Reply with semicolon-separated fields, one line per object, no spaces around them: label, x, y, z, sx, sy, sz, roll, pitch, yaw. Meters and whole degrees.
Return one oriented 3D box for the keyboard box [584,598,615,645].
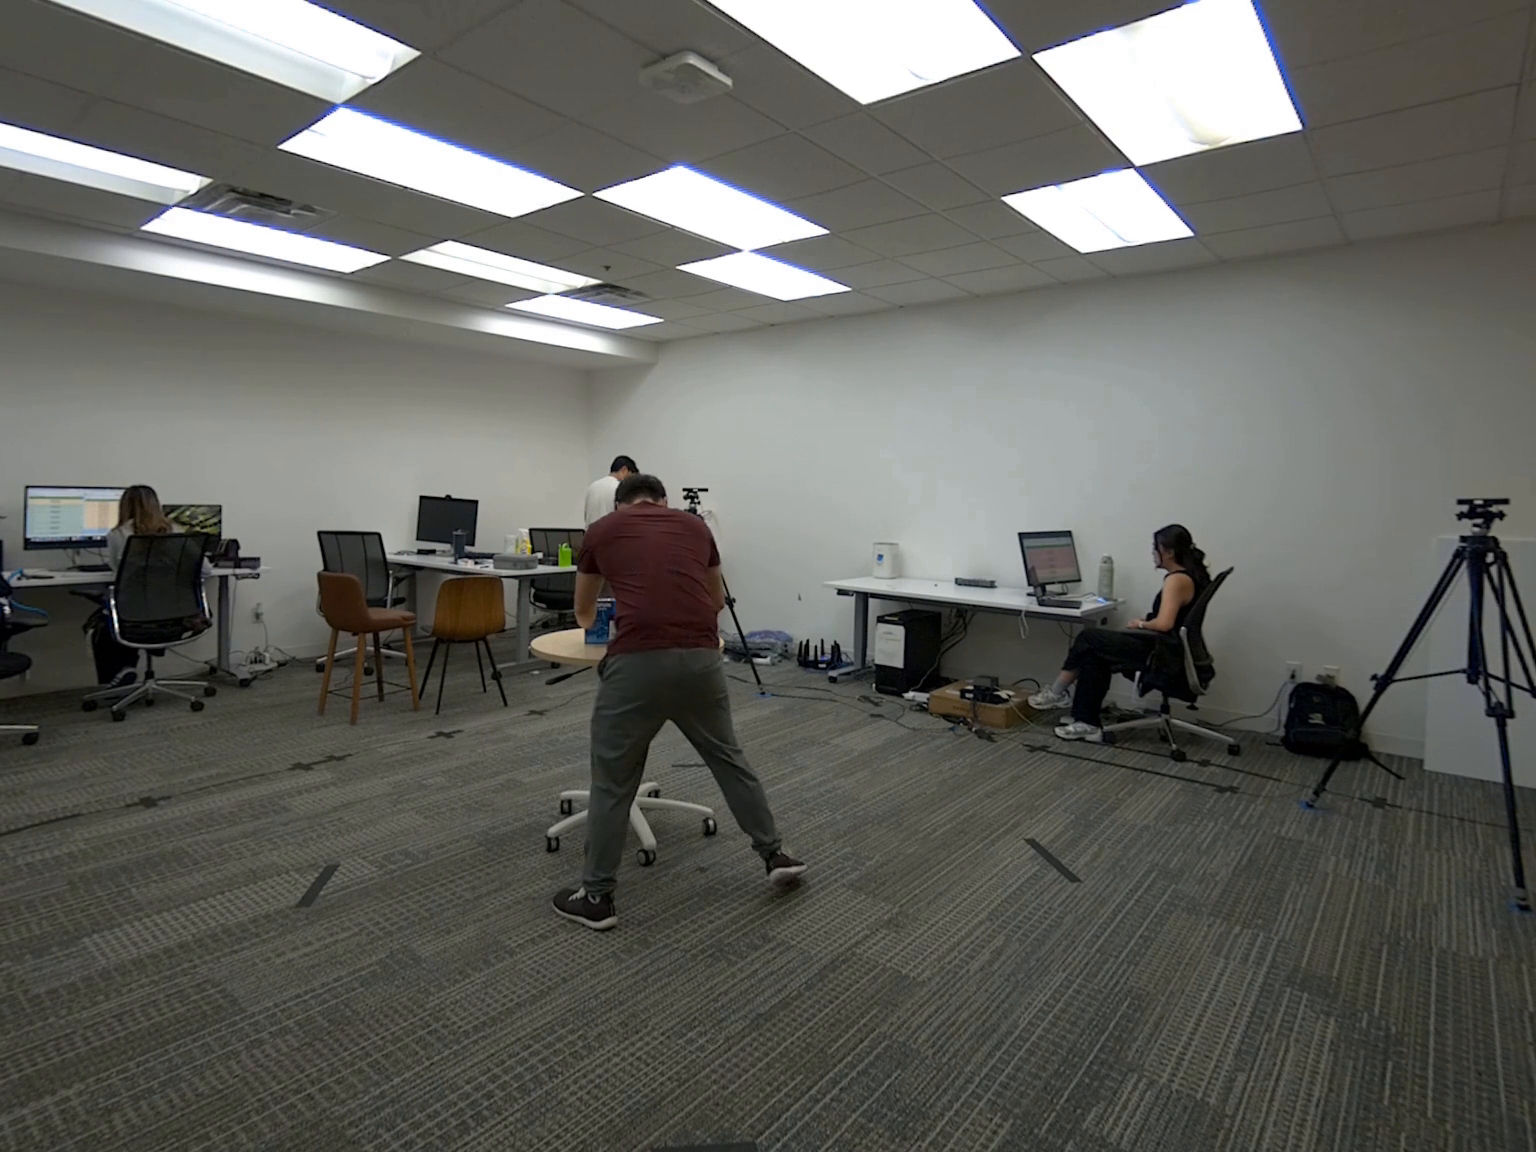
keyboard box;-0.517;0.172;3.375;0.433;0.175;0.060;0;3;-8
